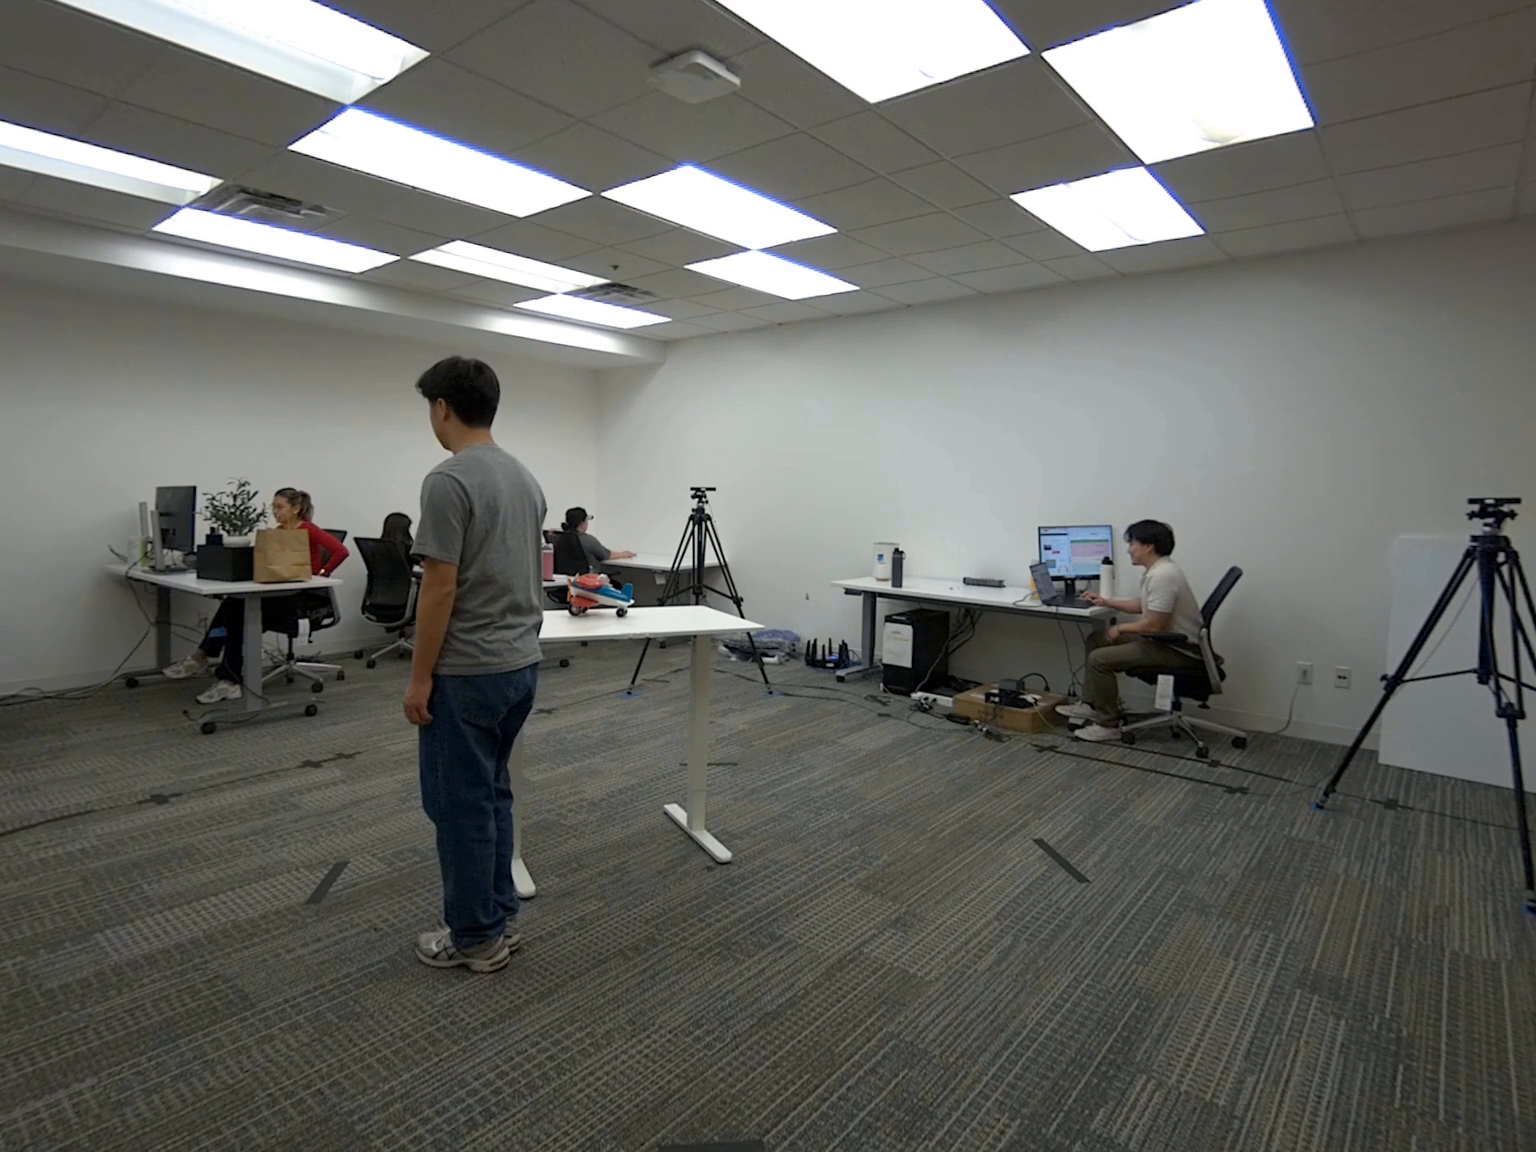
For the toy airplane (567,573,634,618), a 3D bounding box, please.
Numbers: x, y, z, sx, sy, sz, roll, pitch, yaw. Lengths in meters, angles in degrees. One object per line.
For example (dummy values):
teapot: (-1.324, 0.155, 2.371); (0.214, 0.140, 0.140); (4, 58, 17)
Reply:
toy airplane: (-0.675, 0.073, 3.355); (0.254, 0.155, 0.257); (-2, 7, -20)
